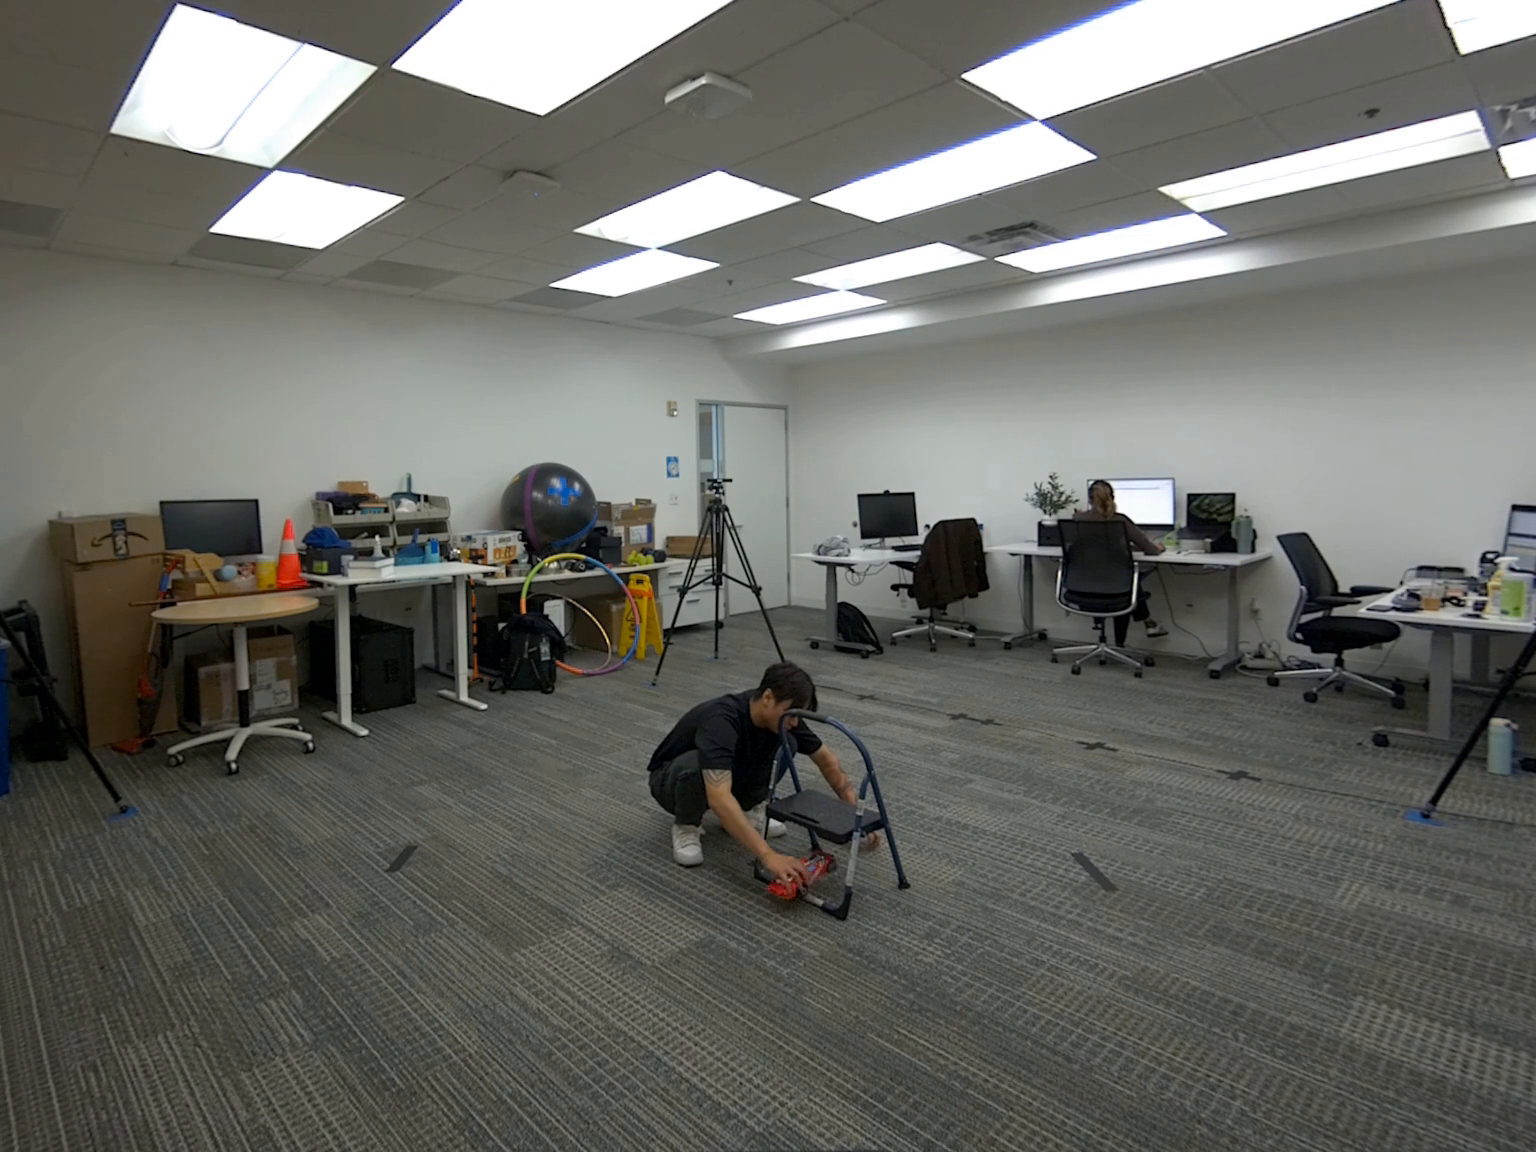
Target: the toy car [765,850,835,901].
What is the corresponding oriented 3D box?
[{"bbox_3d":[0.096,1.001,2.818,0.249,0.083,0.133,-14,4,-39],"label":"toy car"}]
